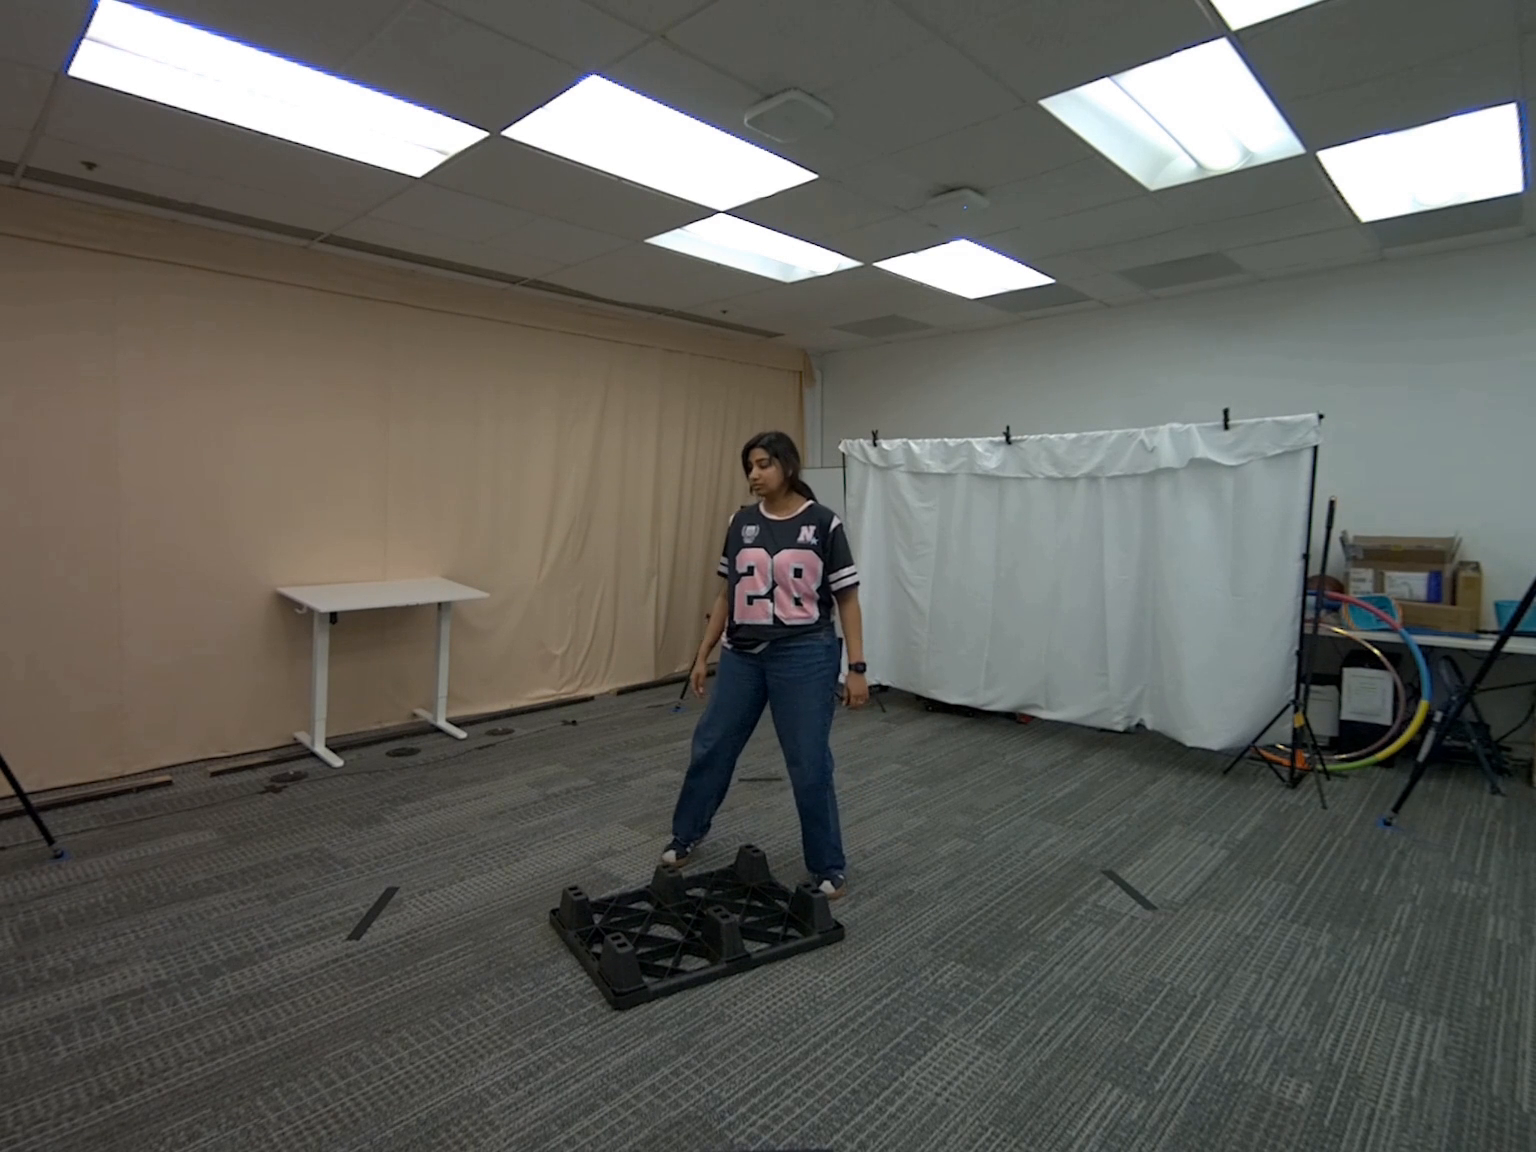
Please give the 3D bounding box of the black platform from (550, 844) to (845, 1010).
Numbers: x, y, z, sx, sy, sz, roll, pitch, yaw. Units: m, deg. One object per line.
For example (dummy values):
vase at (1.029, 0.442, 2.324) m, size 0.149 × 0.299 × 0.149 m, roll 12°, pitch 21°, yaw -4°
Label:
black platform at (-0.242, 1.099, 2.766) m, size 0.784 × 0.143 × 0.623 m, roll -3°, pitch 6°, yaw -31°
